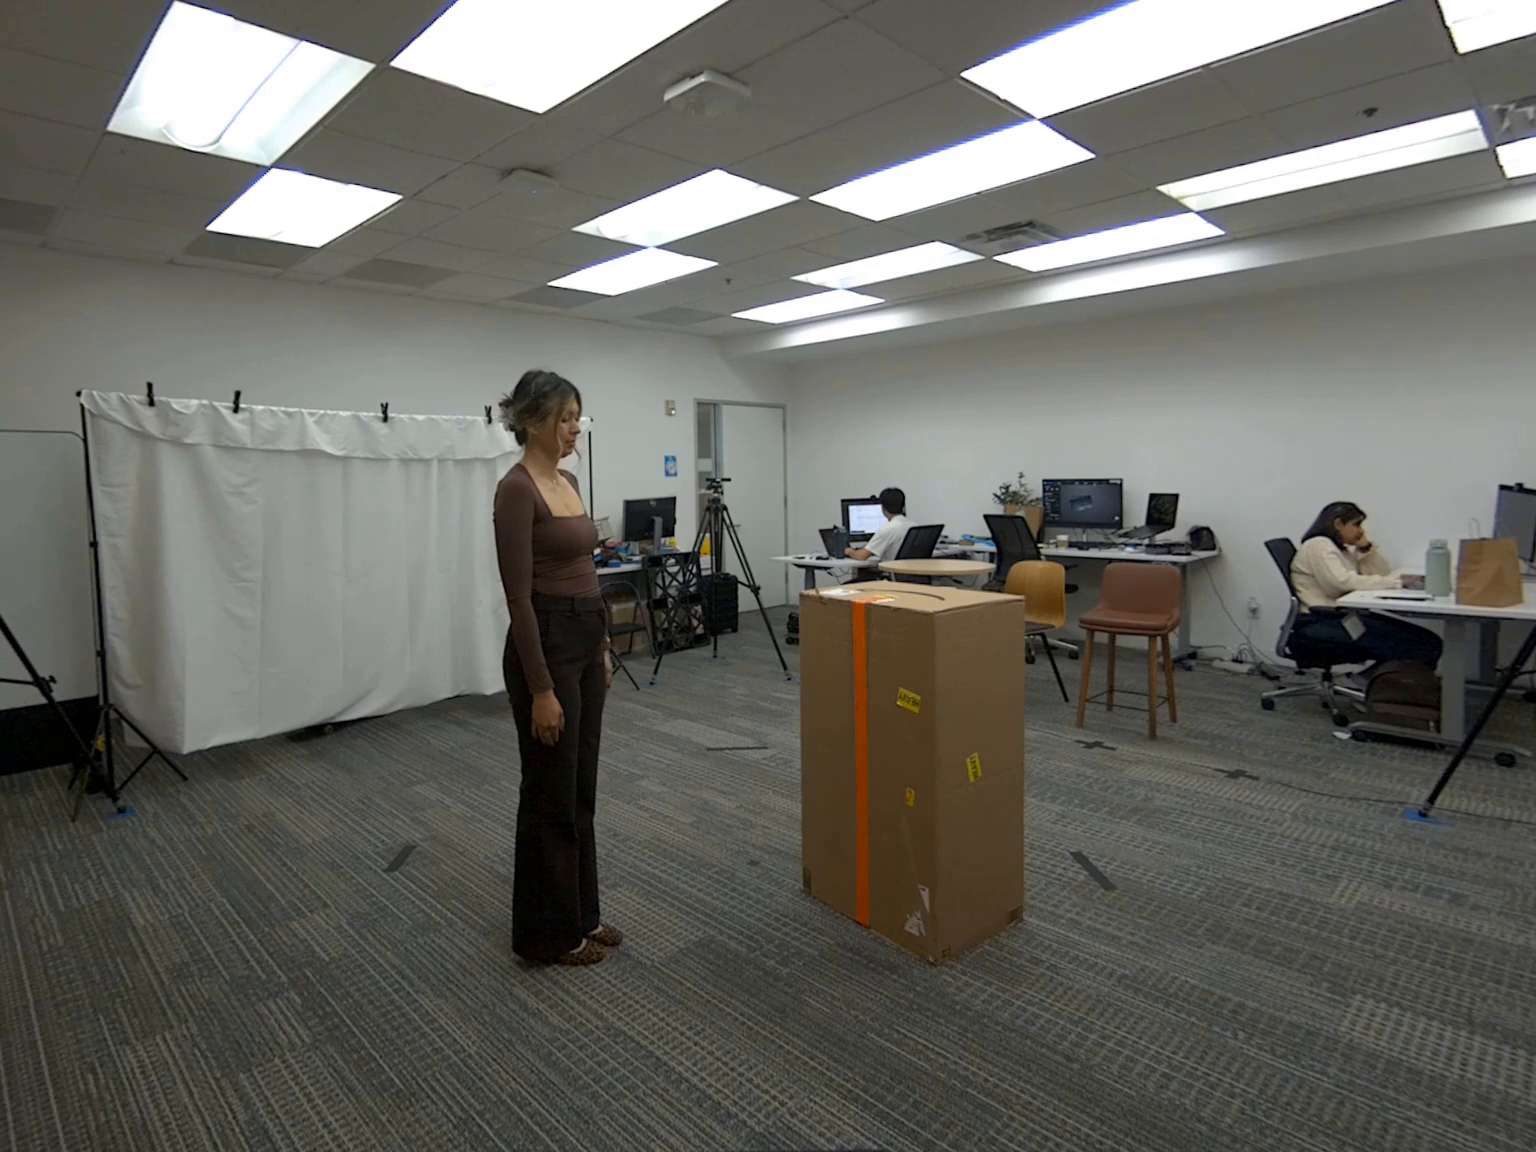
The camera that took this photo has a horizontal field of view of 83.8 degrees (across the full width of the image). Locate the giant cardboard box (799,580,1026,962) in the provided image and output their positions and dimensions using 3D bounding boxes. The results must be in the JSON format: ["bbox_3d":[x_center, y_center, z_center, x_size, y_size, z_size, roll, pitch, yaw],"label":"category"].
[{"bbox_3d":[0.453,0.564,2.751,0.435,1.023,0.601,-5,6,-37],"label":"giant cardboard box"}]
